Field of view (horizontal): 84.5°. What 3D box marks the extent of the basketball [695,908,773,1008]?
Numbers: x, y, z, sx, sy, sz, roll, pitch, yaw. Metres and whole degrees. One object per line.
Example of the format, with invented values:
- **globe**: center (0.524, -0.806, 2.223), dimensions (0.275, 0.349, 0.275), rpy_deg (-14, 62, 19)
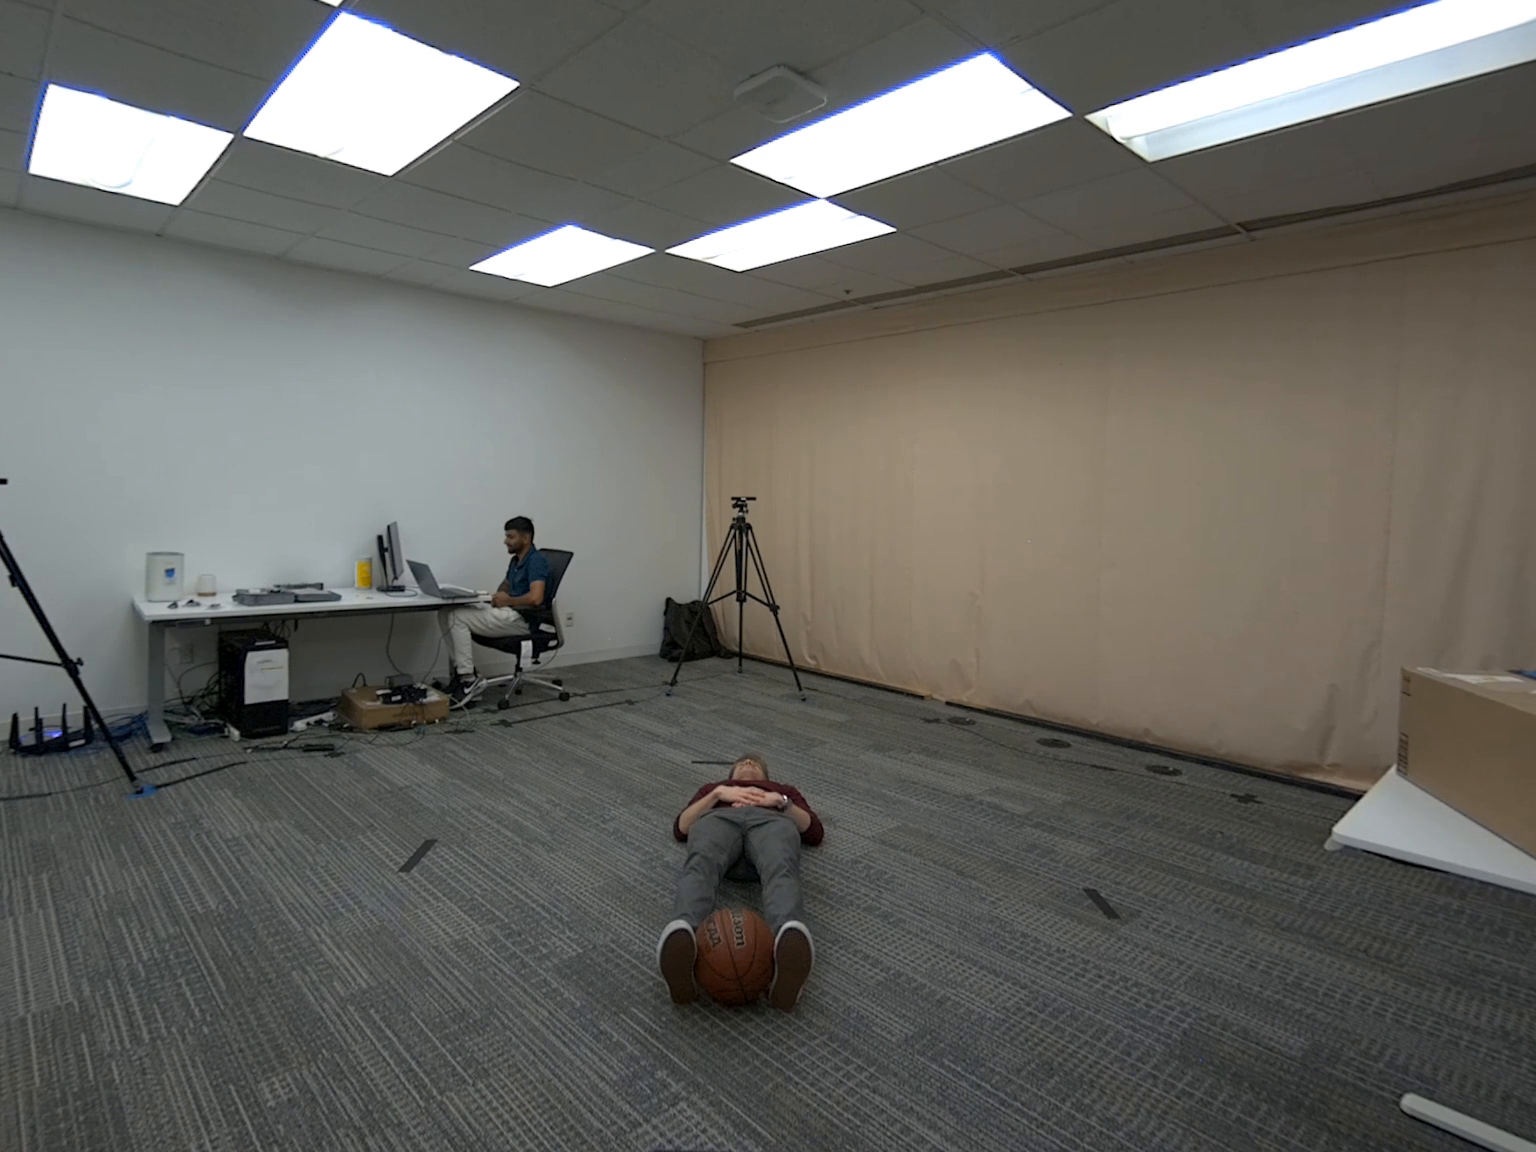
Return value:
- **basketball**: center (-0.107, 1.047, 2.318), dimensions (0.236, 0.234, 0.237), rpy_deg (0, 7, -1)
